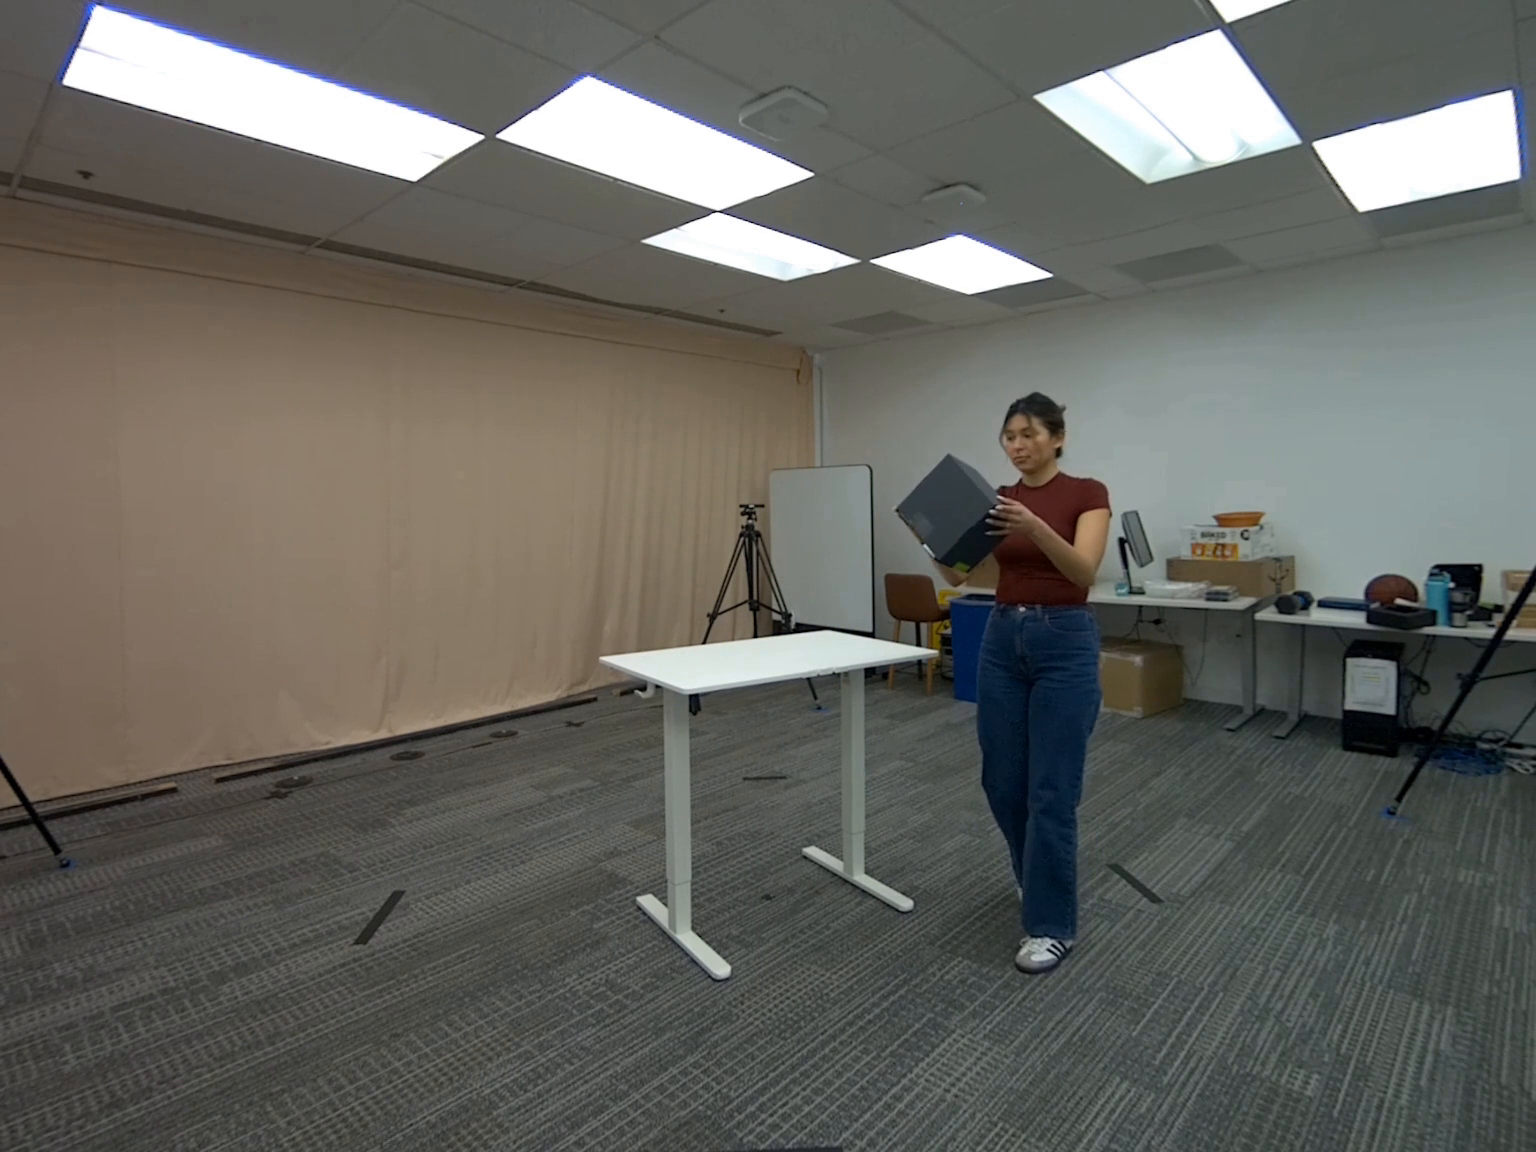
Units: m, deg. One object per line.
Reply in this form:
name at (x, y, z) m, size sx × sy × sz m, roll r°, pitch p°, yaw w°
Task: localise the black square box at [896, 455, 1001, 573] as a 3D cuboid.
black square box at (0.525, -0.166, 2.351) m, size 0.150 × 0.218 × 0.235 m, roll 18°, pitch 32°, yaw -44°
